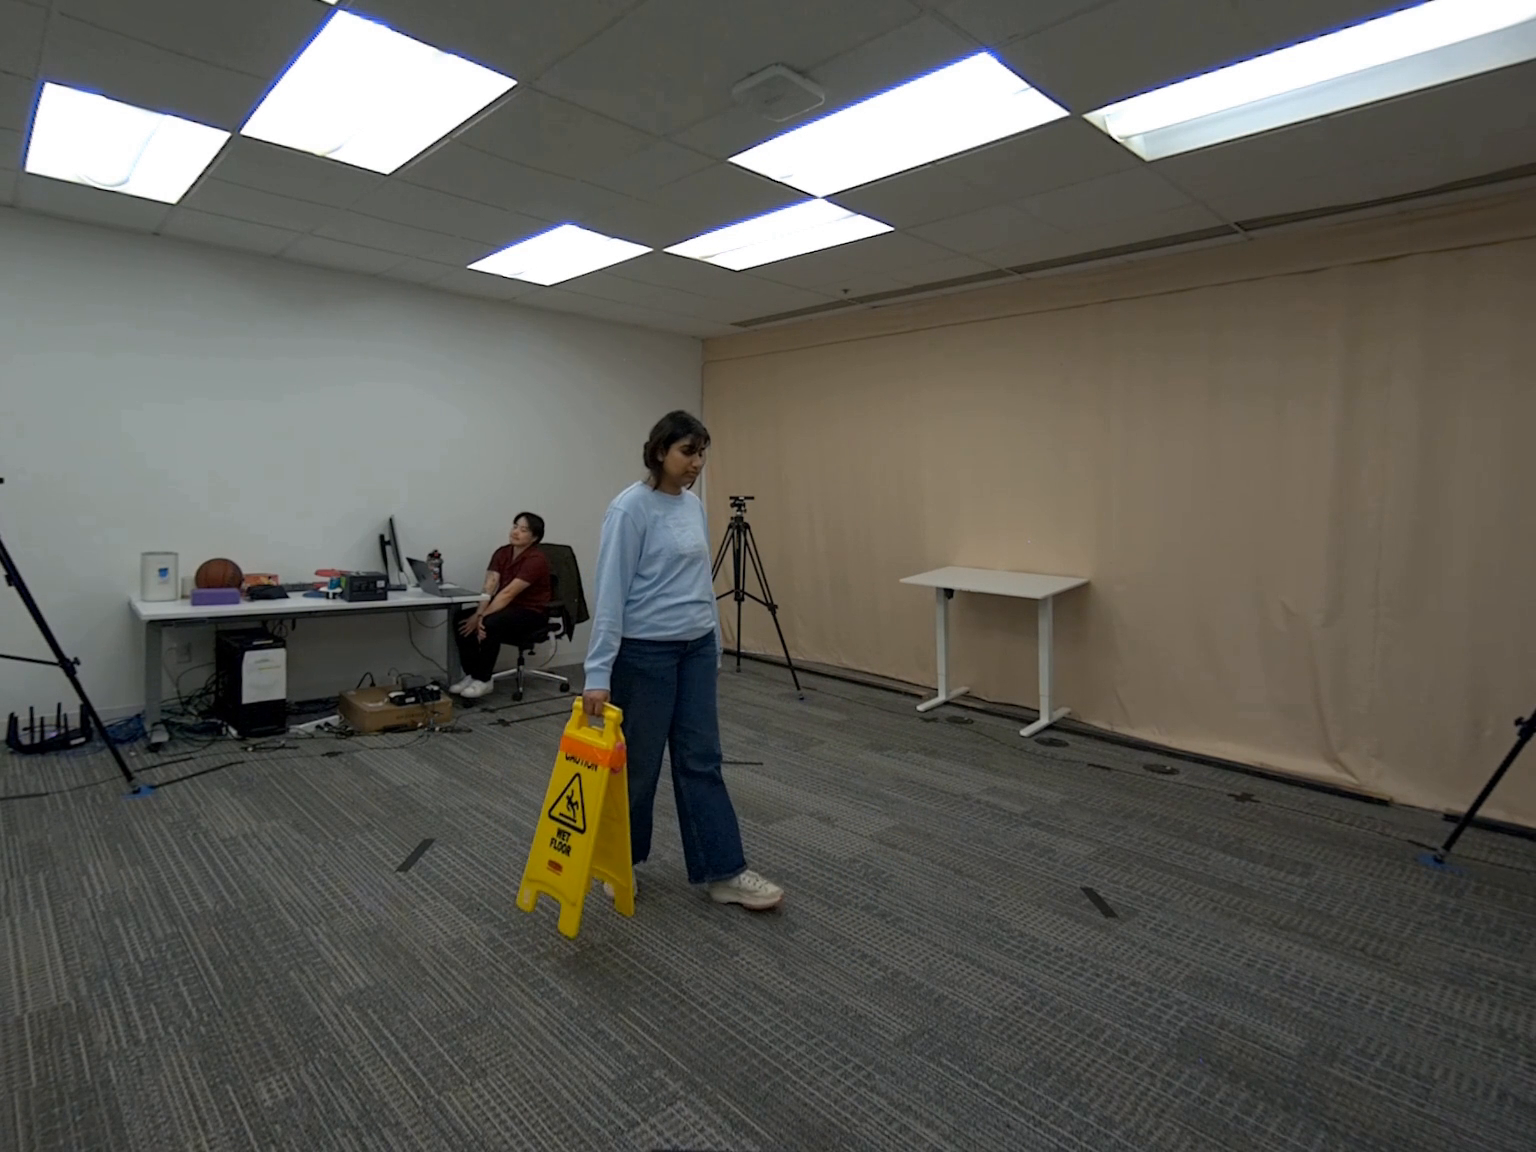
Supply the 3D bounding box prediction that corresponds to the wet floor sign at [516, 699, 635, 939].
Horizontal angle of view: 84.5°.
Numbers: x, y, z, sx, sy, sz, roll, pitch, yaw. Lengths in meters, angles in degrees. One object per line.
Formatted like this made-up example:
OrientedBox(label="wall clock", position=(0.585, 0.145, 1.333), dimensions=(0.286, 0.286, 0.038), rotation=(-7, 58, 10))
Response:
OrientedBox(label="wet floor sign", position=(-0.564, 0.717, 2.608), dimensions=(0.289, 0.646, 0.282), rotation=(8, 1, 38))
